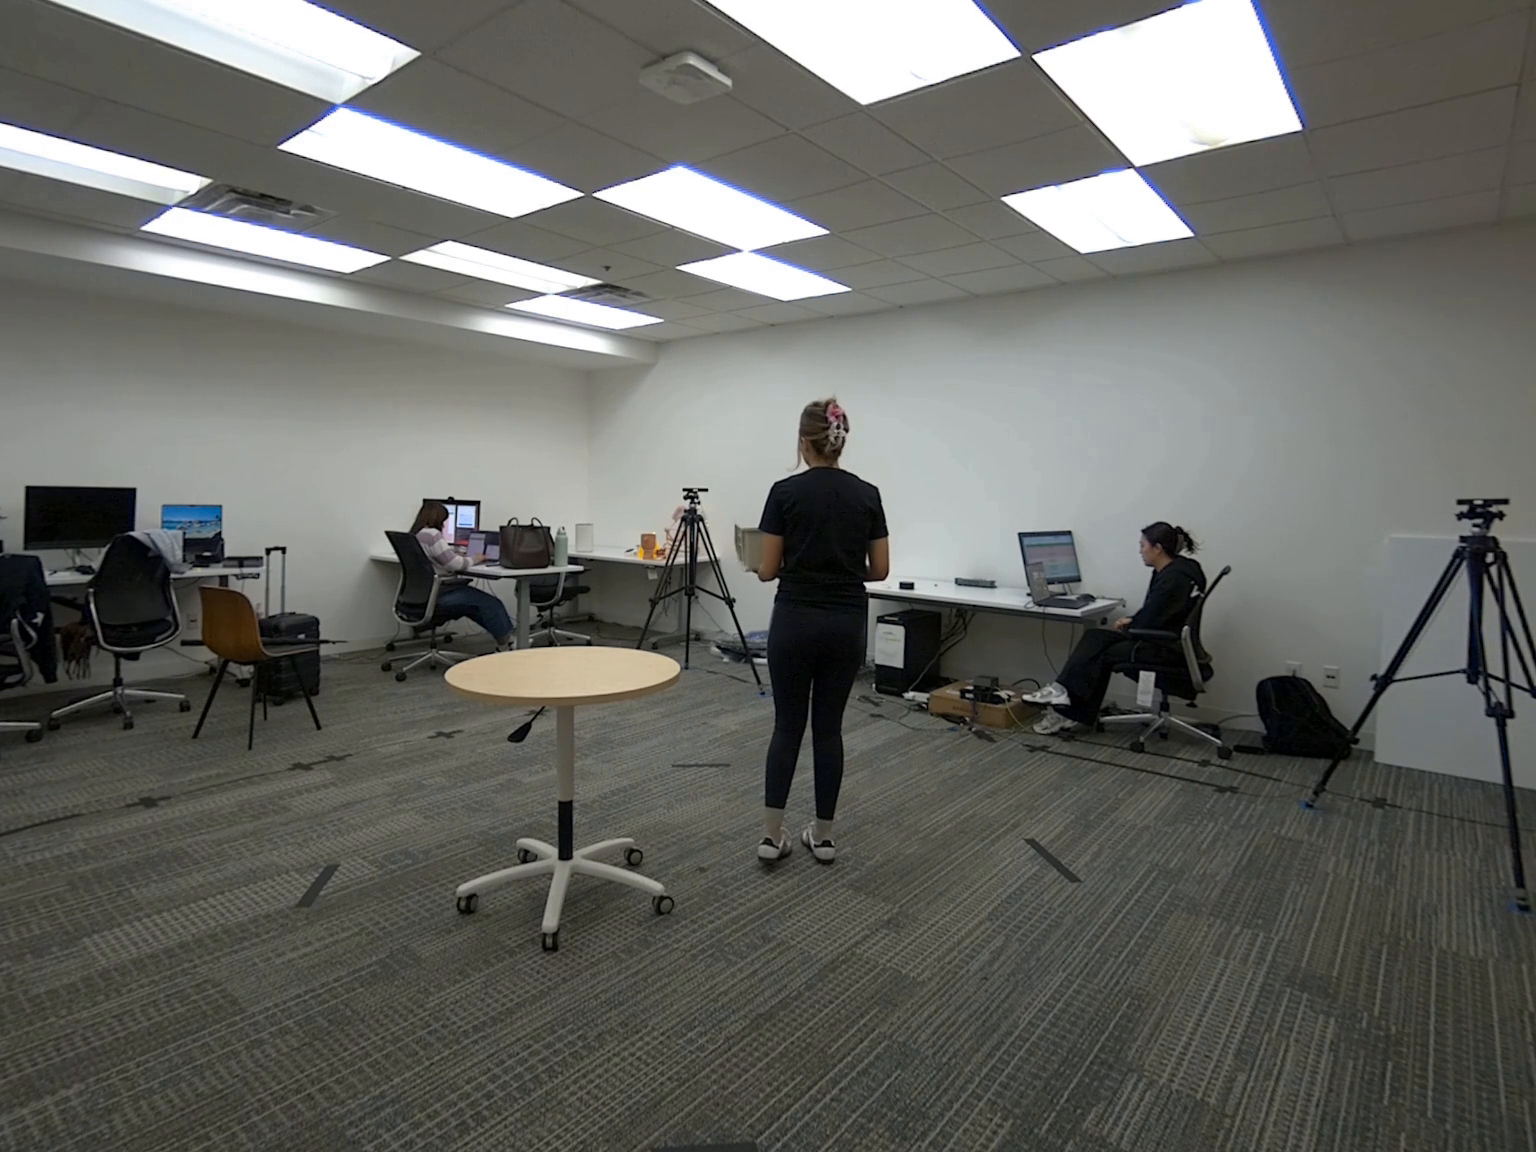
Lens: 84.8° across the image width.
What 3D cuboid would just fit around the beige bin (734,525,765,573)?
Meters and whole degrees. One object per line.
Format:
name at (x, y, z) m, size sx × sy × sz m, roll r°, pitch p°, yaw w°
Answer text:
beige bin at (0.074, -0.136, 3.566) m, size 0.420 × 0.187 × 0.382 m, roll -2°, pitch 9°, yaw -6°
